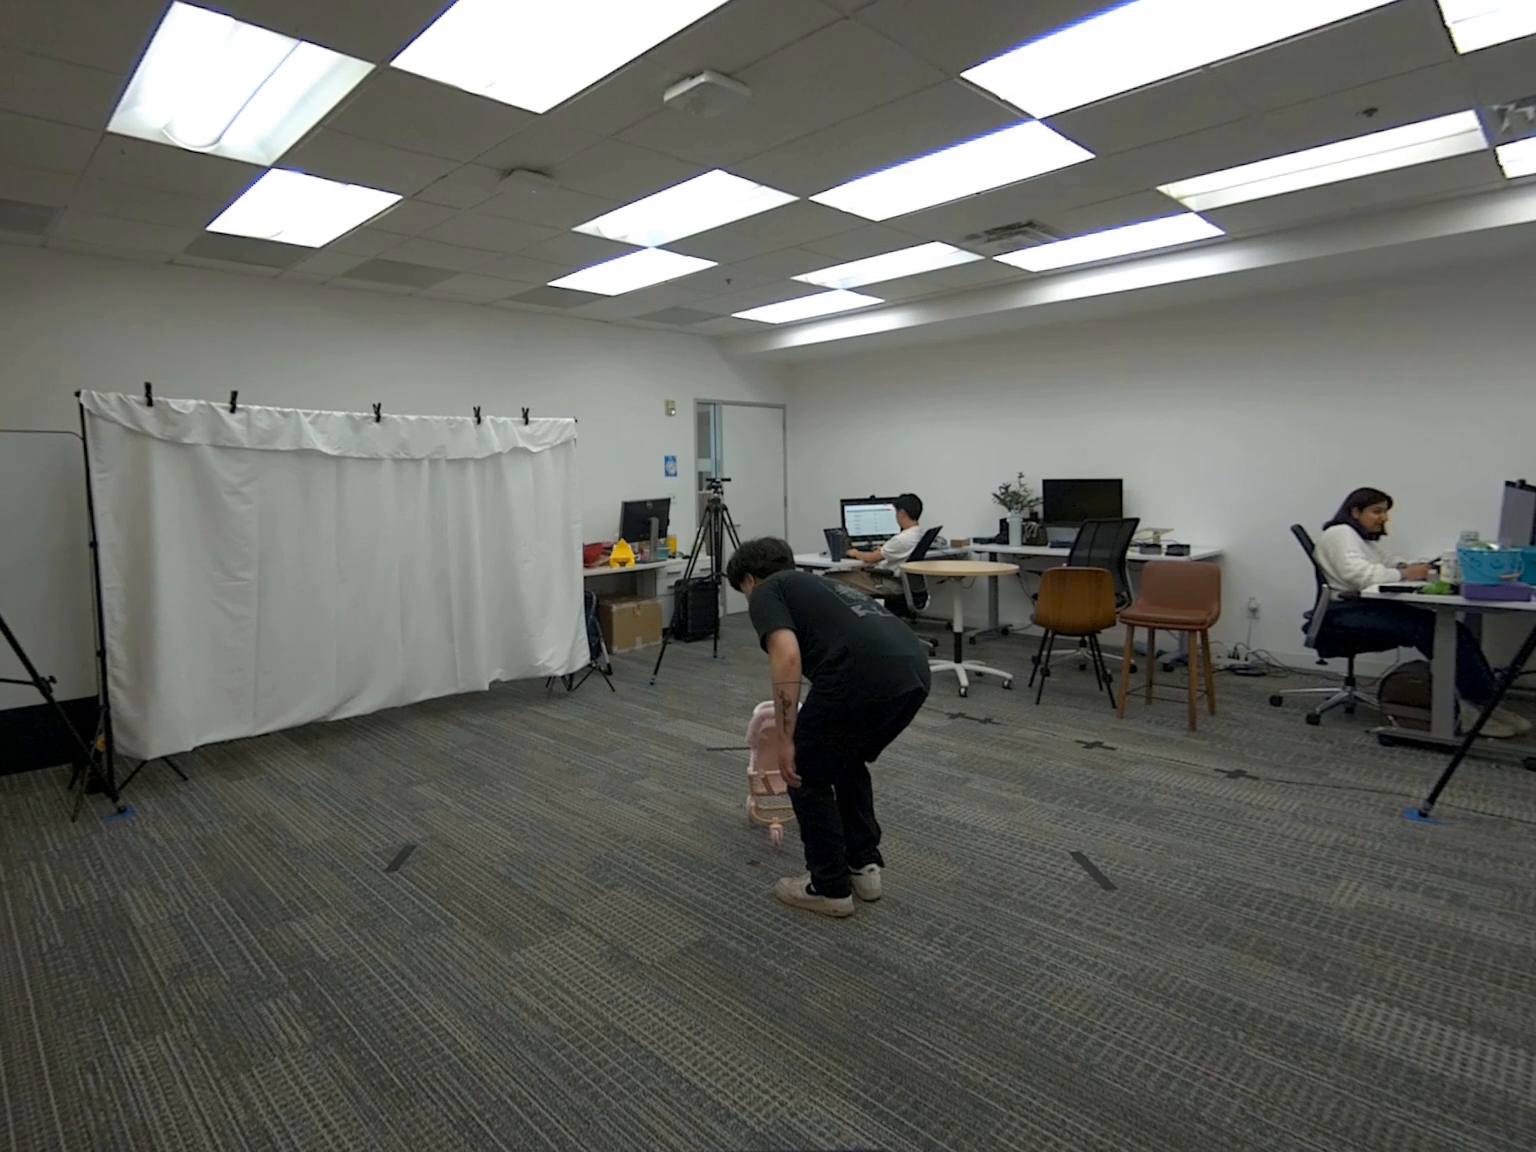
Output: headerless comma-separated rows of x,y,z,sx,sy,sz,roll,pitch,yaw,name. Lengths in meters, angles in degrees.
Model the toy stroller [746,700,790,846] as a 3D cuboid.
0.033,0.752,3.347,0.285,0.541,0.333,-5,-12,12,toy stroller
